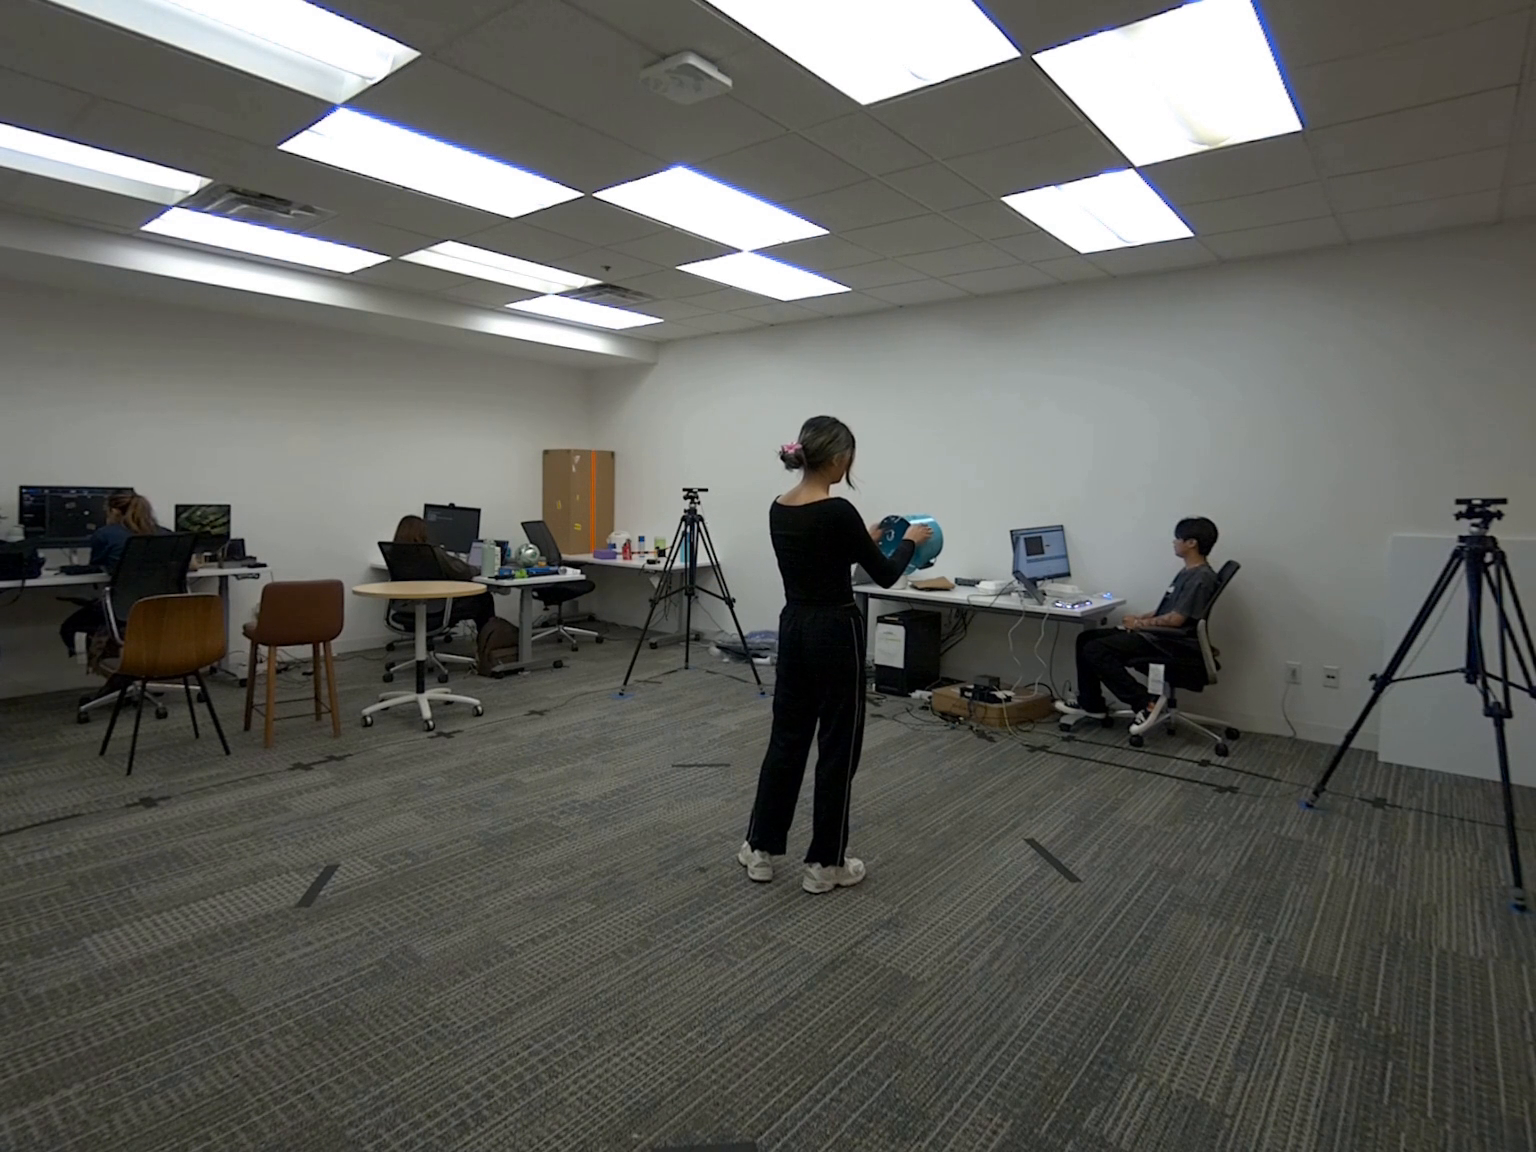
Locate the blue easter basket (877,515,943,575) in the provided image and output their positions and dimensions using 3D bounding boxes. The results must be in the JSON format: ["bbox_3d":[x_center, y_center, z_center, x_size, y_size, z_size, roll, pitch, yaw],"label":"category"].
[{"bbox_3d":[0.543,-0.137,3.263,0.152,0.241,0.251,-11,10,-34],"label":"blue easter basket"}]
